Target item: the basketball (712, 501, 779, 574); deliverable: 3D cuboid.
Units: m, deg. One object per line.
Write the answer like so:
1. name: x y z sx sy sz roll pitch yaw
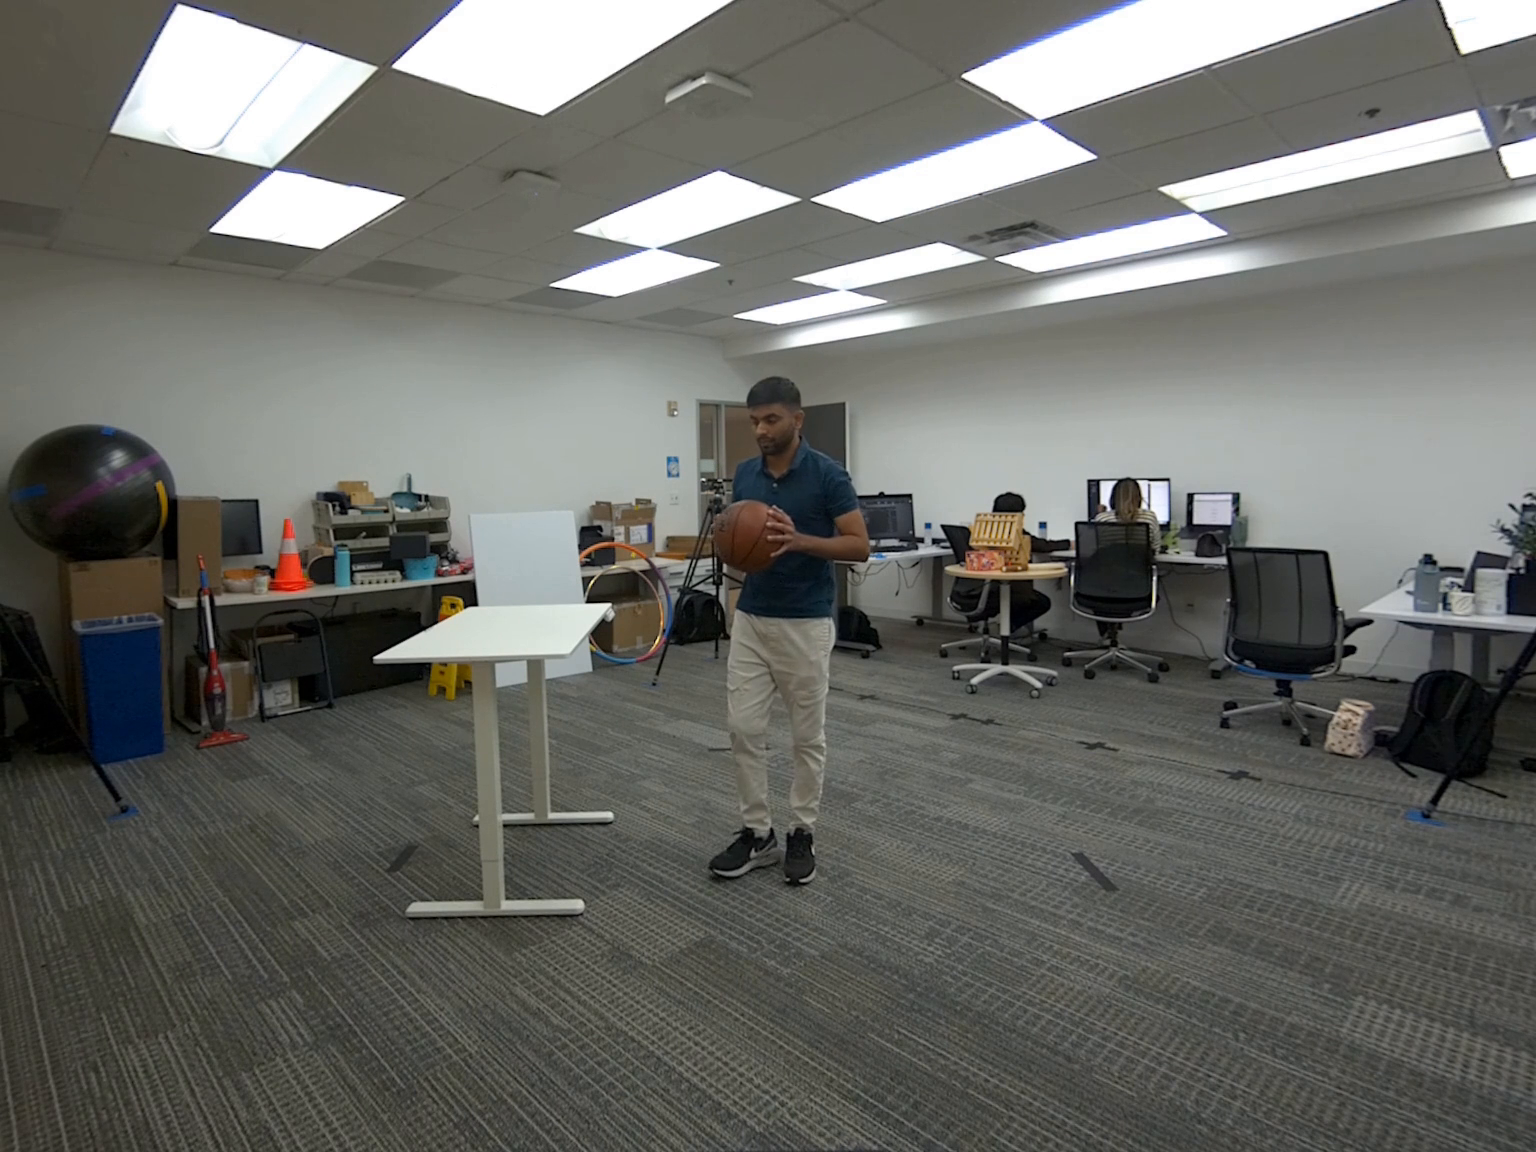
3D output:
1. basketball: -0.069 -0.130 2.811 0.236 0.235 0.237 -1 5 -2
